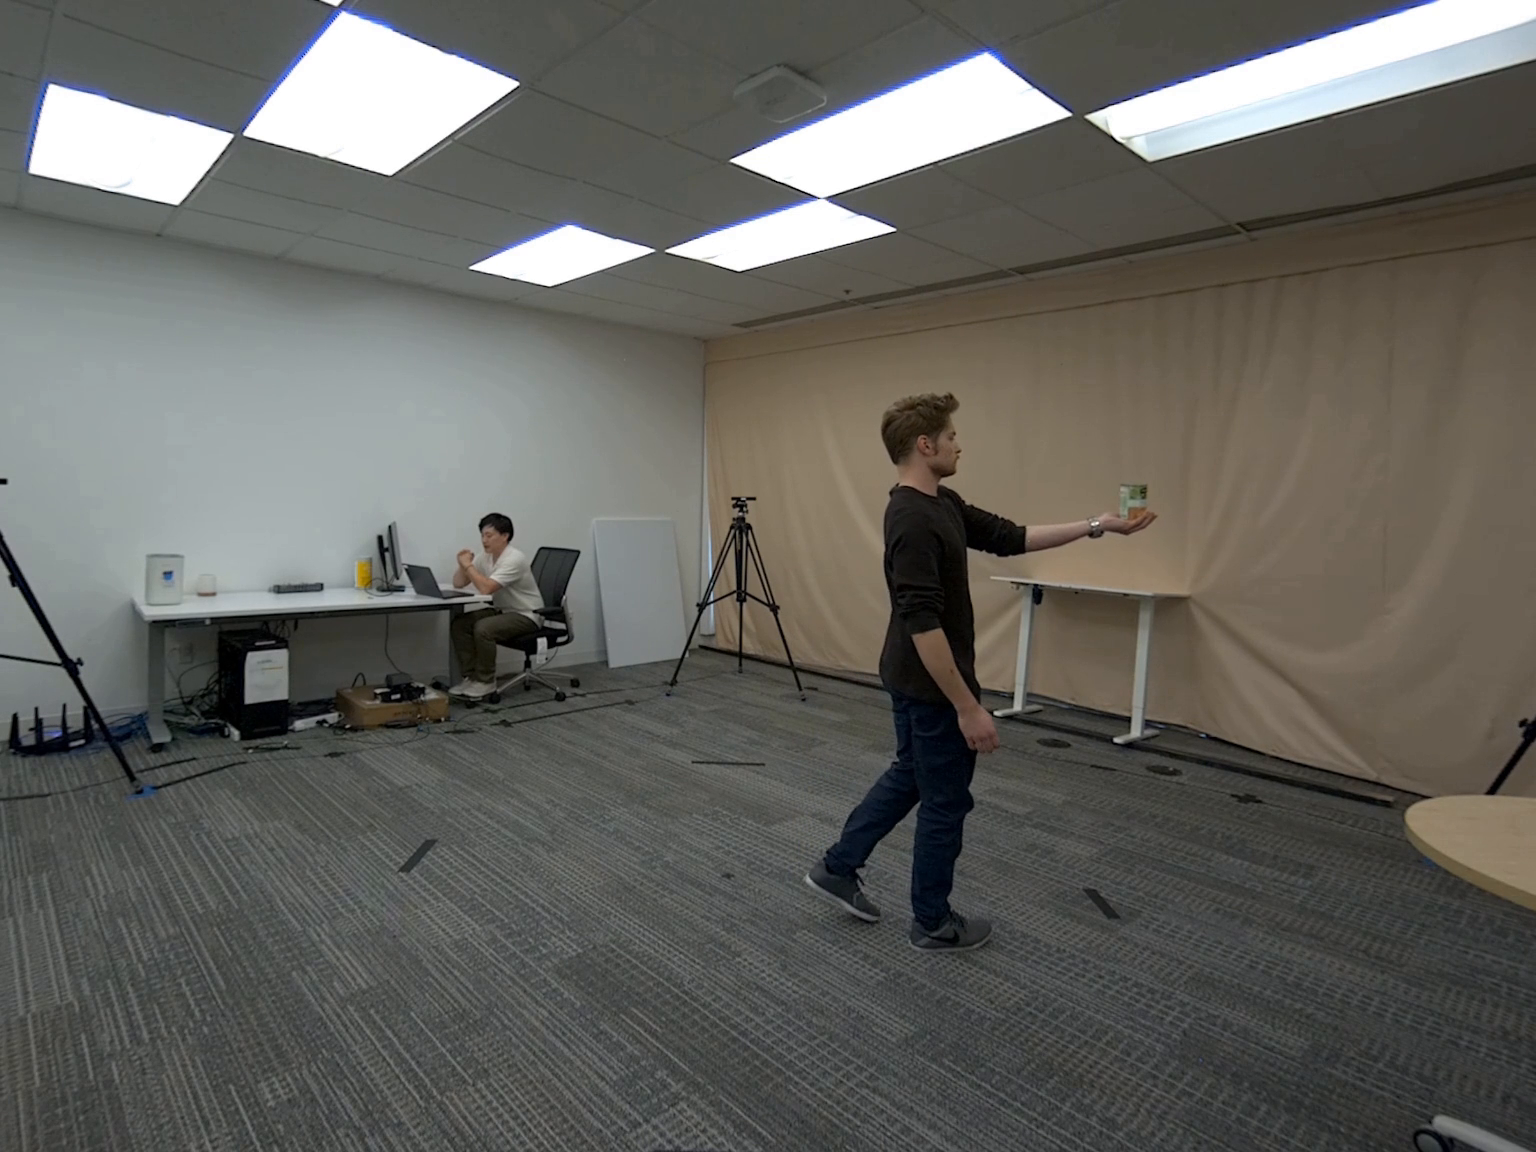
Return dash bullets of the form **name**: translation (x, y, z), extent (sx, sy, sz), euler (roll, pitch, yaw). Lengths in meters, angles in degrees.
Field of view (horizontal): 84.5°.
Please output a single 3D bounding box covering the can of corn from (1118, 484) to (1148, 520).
- **can of corn**: translation (1.110, -0.223, 2.558), extent (0.074, 0.110, 0.074), euler (-3, 6, -1)
